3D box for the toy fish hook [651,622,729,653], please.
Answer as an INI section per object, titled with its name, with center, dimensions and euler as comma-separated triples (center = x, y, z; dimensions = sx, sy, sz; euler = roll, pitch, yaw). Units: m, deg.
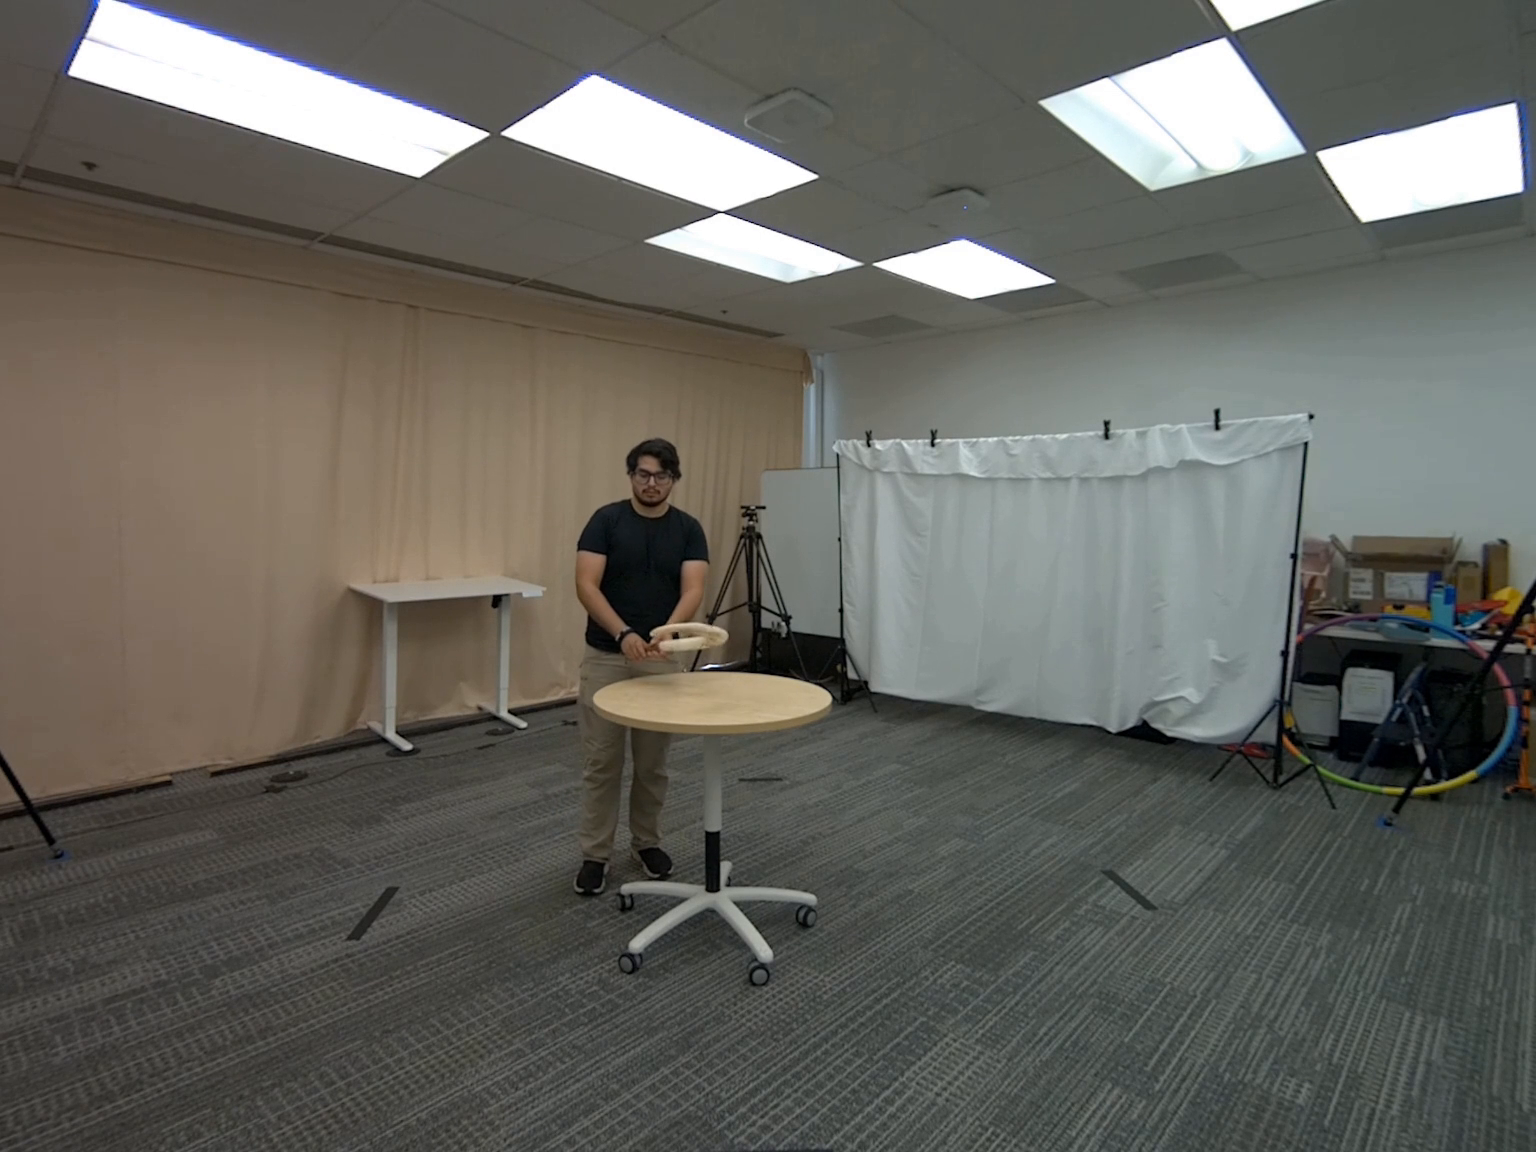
[toy fish hook]
center = -0.353, 0.218, 2.746
dimensions = 0.217, 0.049, 0.519
euler = 25, -29, -35
